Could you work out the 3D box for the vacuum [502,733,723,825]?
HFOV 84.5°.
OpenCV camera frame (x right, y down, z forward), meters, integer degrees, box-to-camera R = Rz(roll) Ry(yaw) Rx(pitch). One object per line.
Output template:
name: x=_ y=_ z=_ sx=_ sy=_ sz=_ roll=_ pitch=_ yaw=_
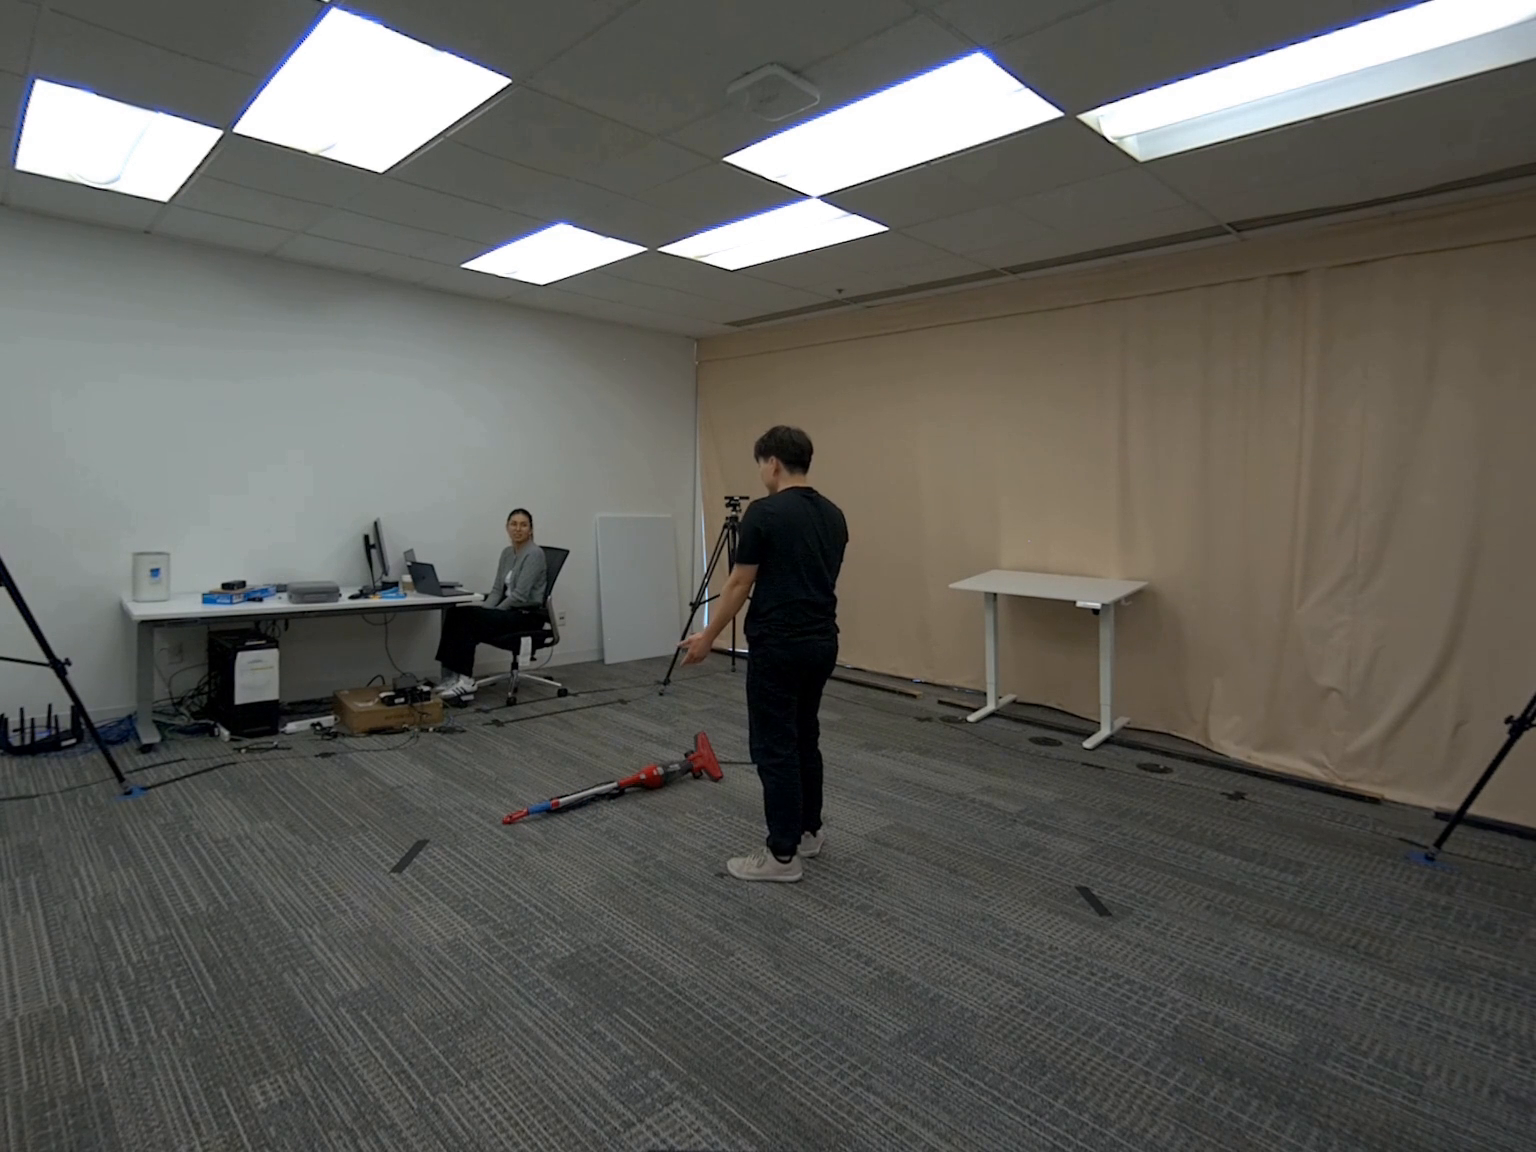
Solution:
vacuum: x=-0.719 y=0.972 z=3.870 sx=1.028 sy=0.258 sz=0.144 roll=-8 pitch=-29 yaw=-39
